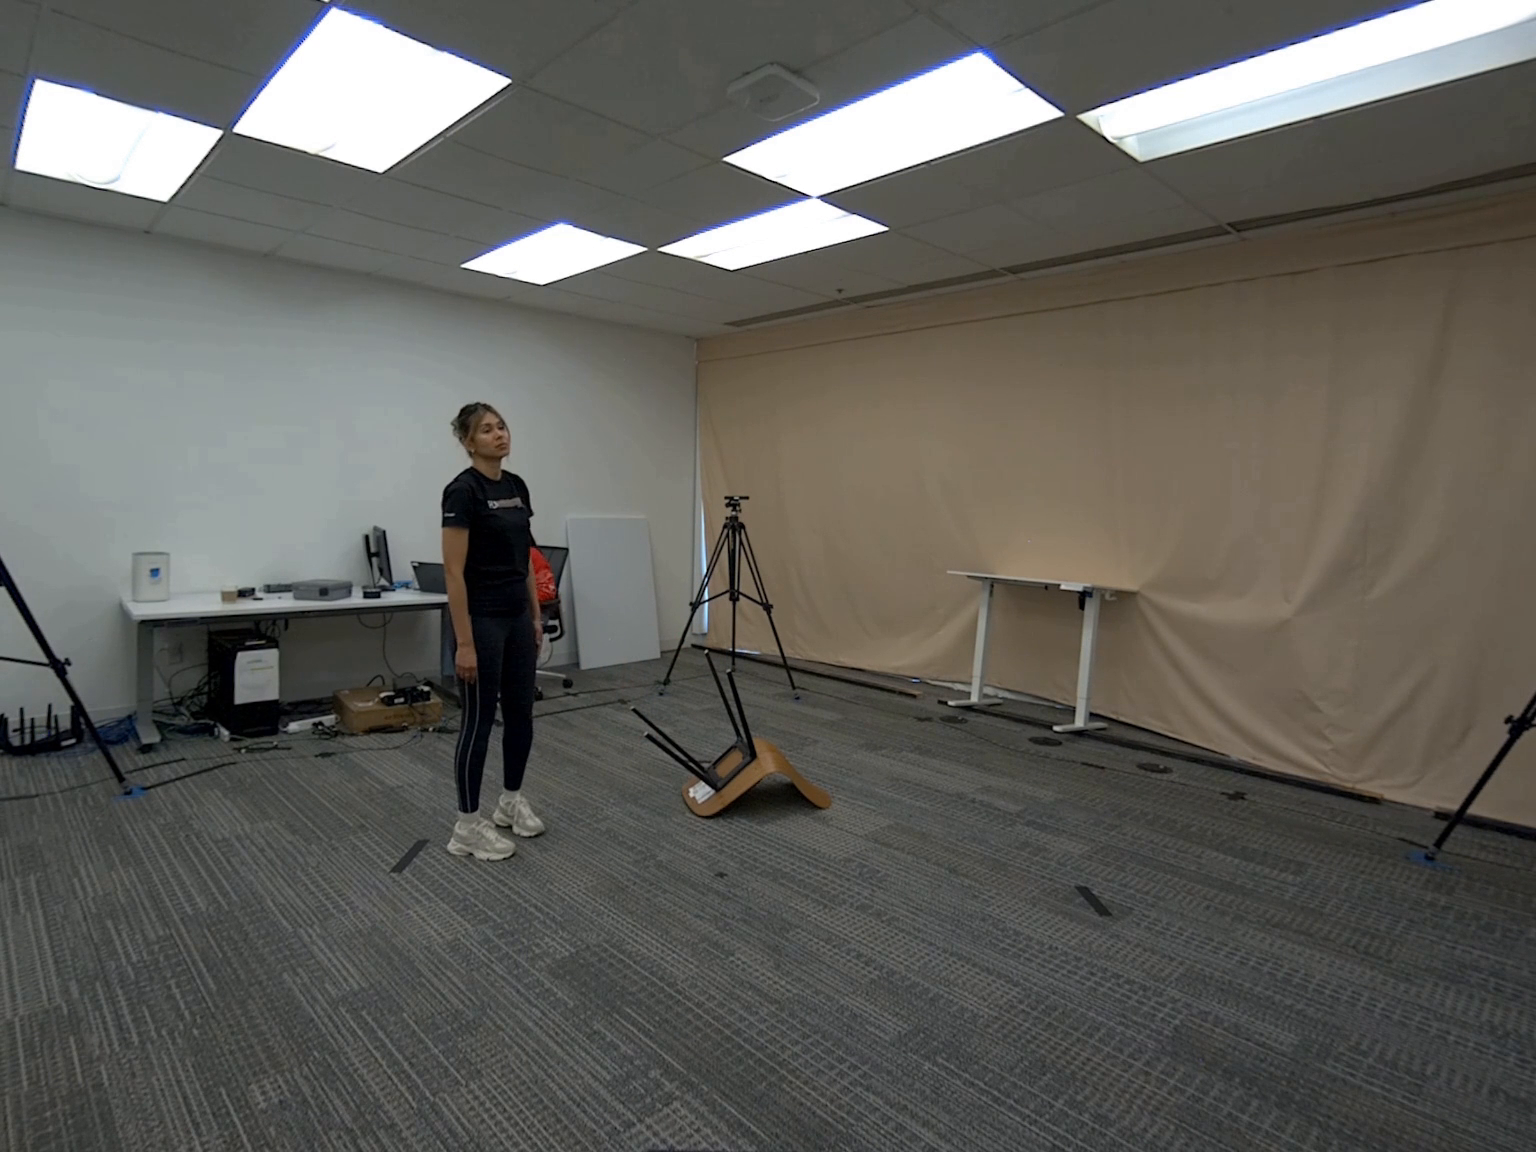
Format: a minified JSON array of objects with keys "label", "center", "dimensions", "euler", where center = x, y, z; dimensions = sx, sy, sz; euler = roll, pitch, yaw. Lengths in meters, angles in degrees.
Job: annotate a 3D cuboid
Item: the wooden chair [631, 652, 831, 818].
[{"label":"wooden chair","center":[-0.190,0.864,3.875],"dimensions":[0.522,0.866,0.485],"euler":[-40,13,-9]}]
